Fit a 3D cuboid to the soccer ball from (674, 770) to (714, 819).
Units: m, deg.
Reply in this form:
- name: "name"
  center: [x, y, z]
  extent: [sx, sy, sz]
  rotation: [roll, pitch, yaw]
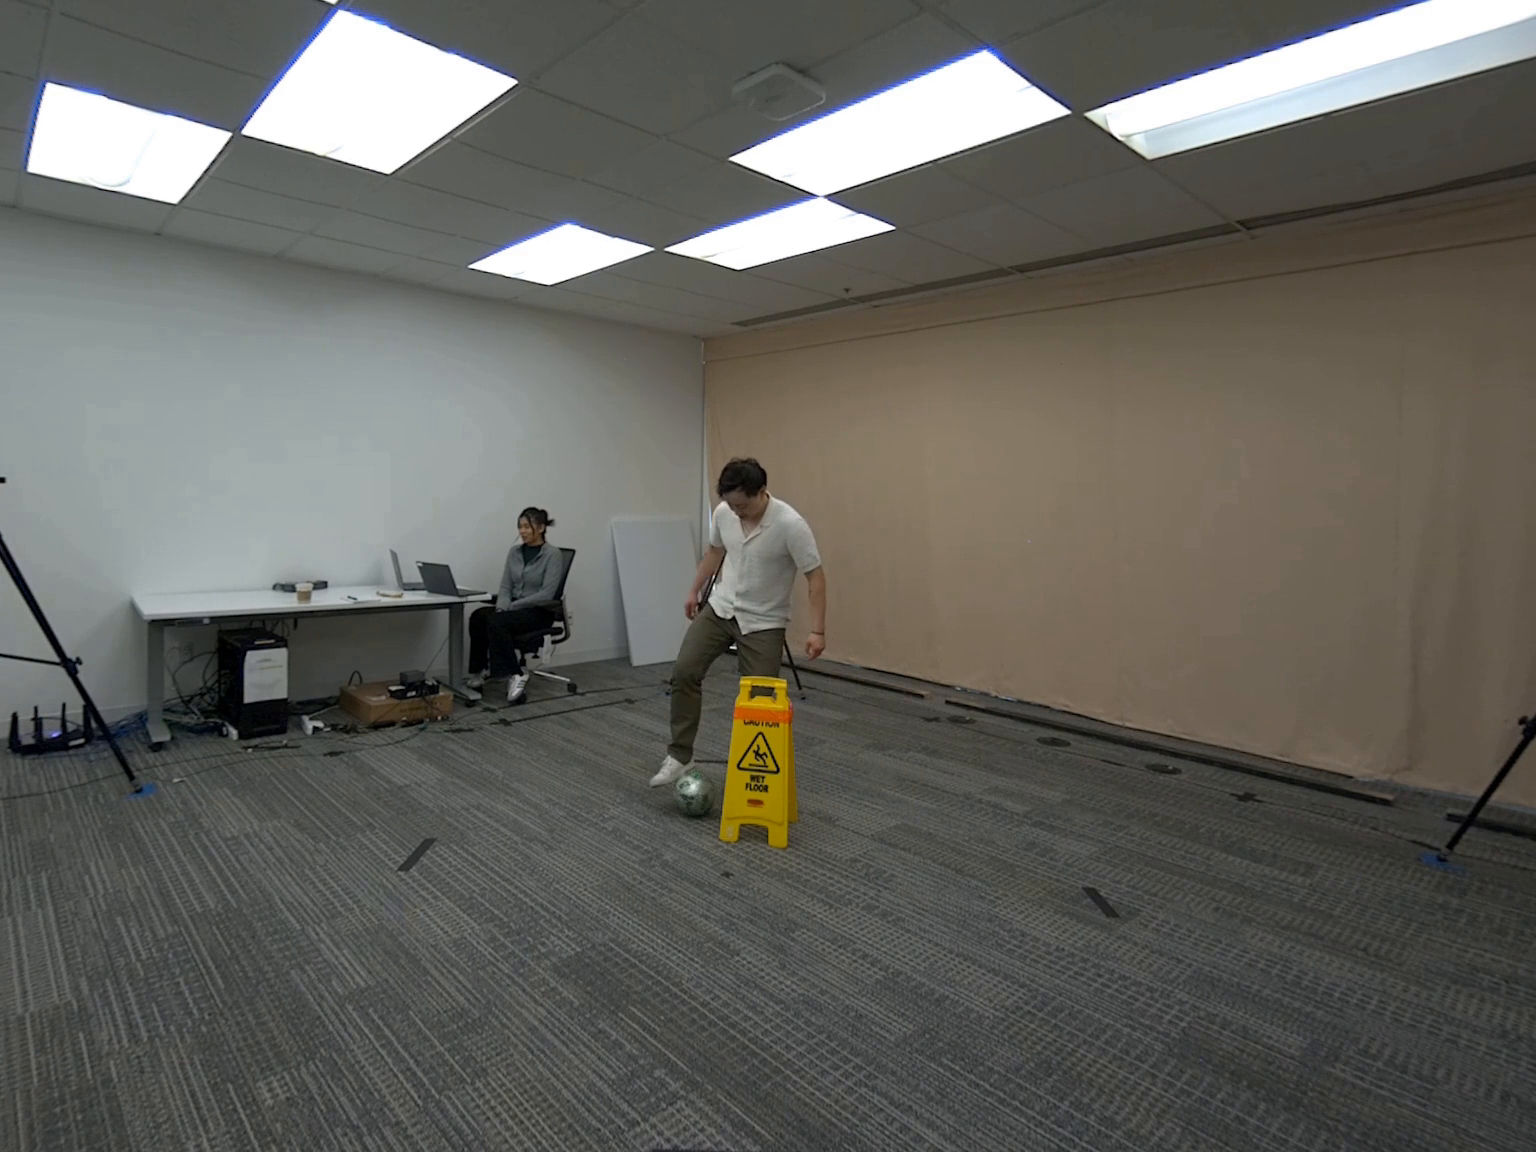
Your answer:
- name: "soccer ball"
  center: [-0.325, 0.952, 3.675]
  extent: [0.187, 0.187, 0.188]
  rotation: [1, 4, -1]
